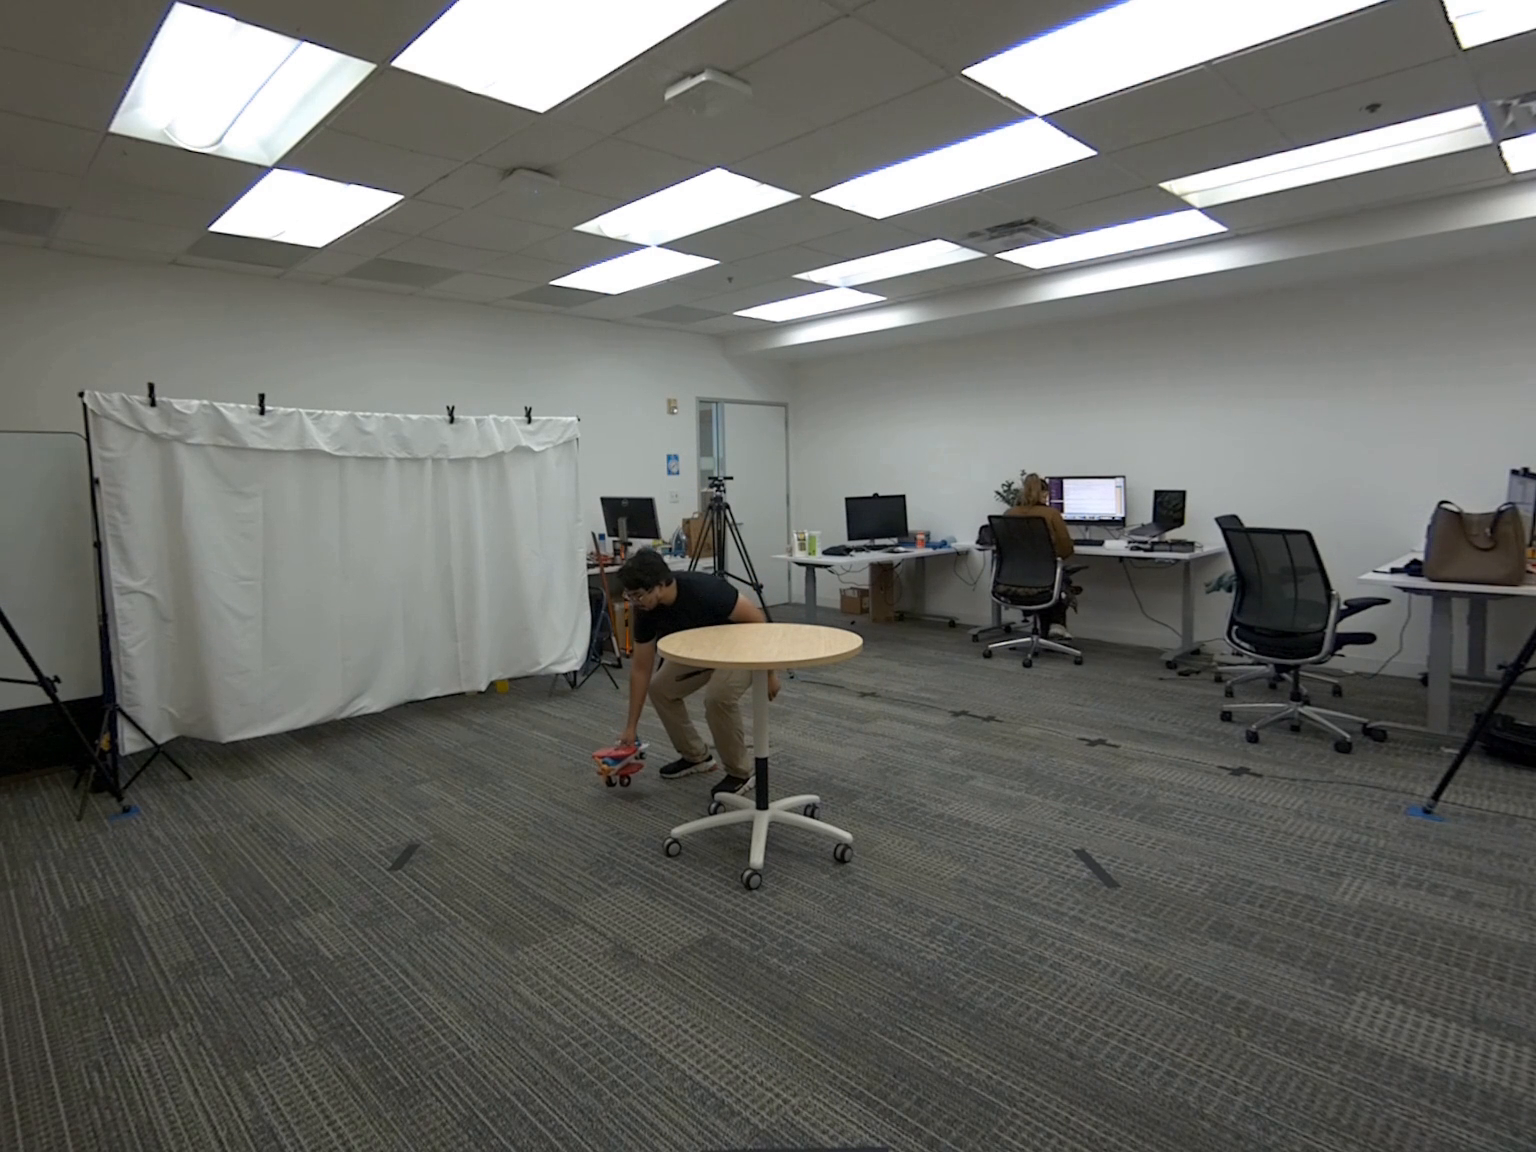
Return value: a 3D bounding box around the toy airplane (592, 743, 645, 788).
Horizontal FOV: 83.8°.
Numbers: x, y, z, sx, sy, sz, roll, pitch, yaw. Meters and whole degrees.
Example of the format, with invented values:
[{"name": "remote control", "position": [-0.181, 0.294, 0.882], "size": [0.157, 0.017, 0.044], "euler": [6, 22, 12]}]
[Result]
[{"name": "toy airplane", "position": [-0.660, 0.823, 3.813], "size": [0.252, 0.153, 0.264], "euler": [-22, 20, 8]}]
